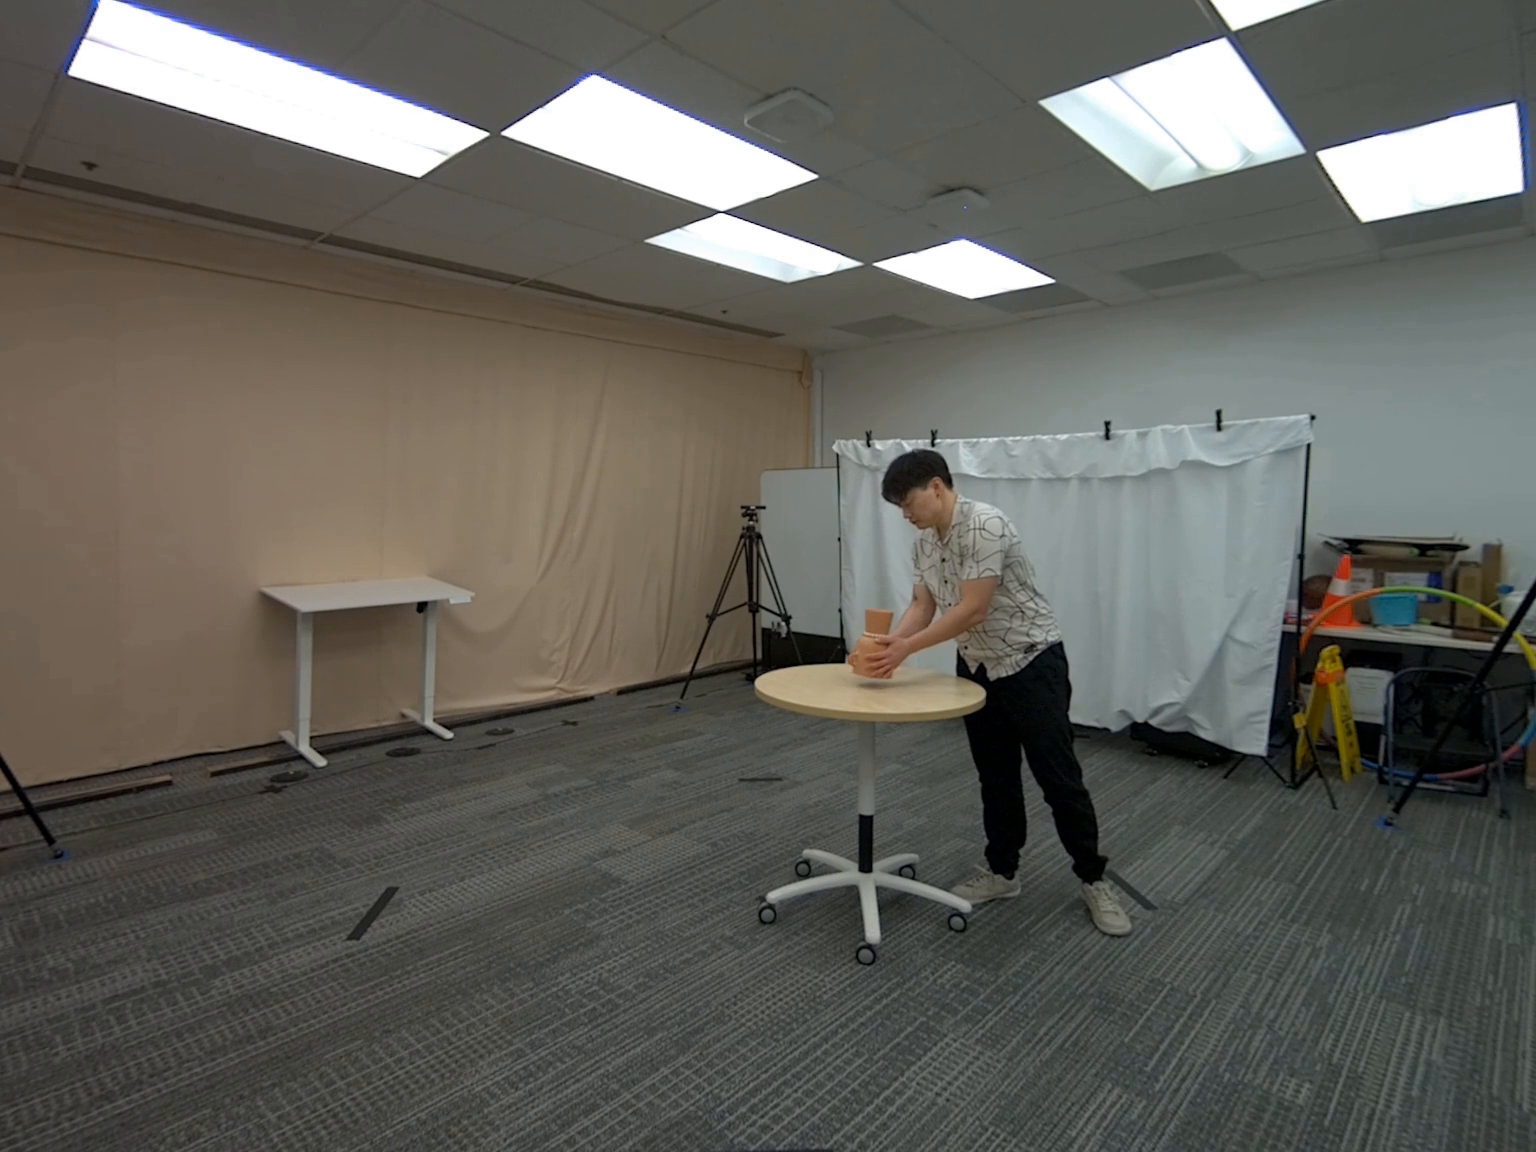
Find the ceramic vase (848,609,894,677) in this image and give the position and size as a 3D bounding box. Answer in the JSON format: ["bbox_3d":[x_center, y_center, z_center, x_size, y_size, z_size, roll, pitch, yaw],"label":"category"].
[{"bbox_3d":[0.388,0.229,2.833,0.139,0.219,0.154,8,2,34],"label":"ceramic vase"}]
